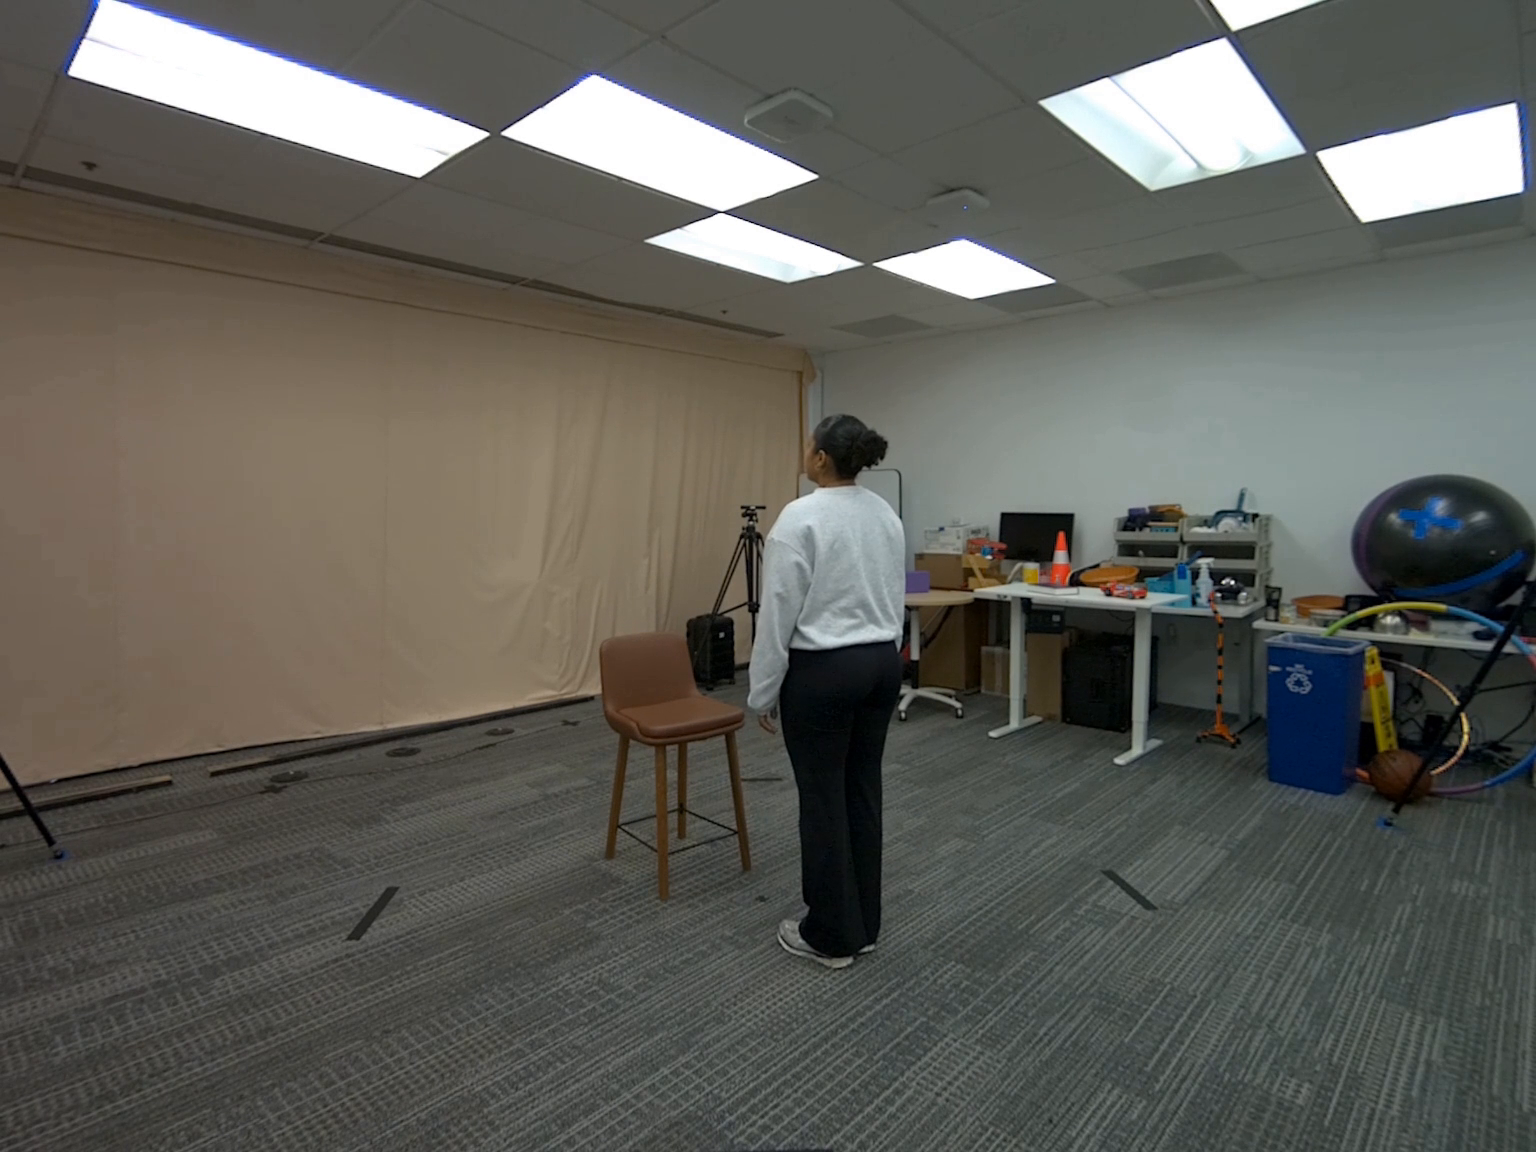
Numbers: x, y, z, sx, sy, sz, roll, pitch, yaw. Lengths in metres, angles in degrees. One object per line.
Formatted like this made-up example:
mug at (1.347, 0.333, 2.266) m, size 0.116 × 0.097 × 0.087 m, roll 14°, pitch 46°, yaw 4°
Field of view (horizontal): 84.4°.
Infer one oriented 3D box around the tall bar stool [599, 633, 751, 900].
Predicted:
tall bar stool at (-0.369, 0.688, 3.256) m, size 0.443 × 0.889 × 0.482 m, roll -3°, pitch 2°, yaw -38°
